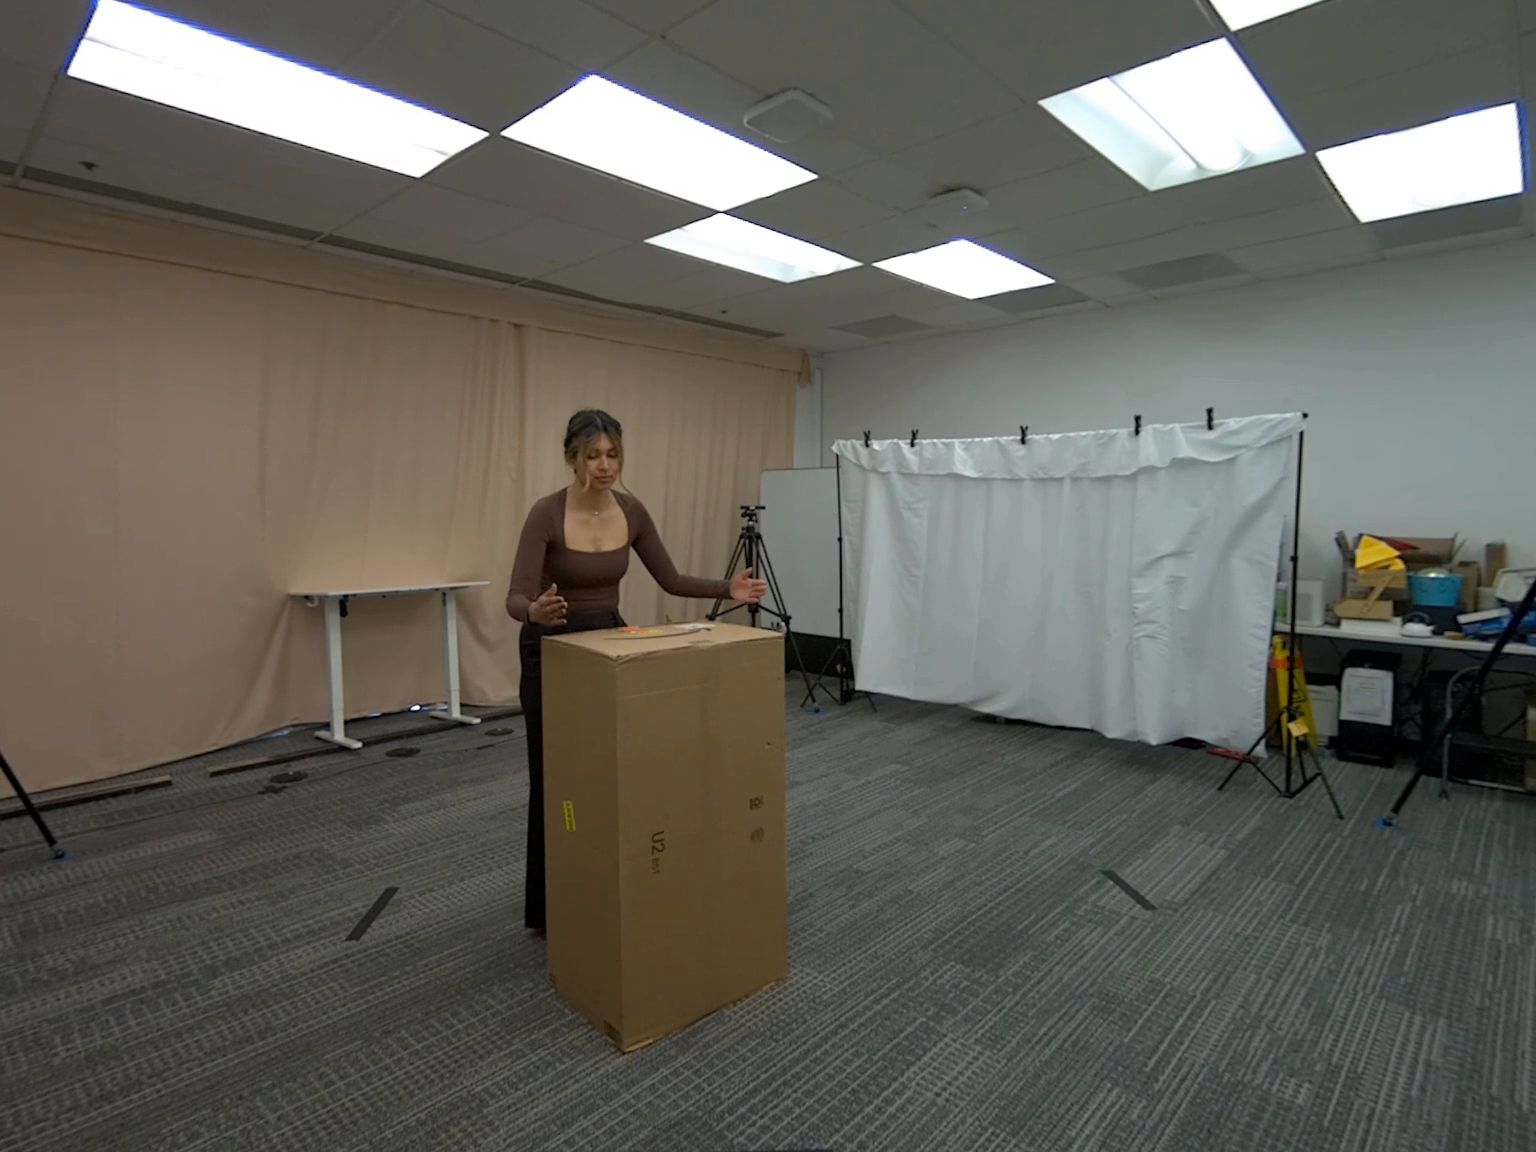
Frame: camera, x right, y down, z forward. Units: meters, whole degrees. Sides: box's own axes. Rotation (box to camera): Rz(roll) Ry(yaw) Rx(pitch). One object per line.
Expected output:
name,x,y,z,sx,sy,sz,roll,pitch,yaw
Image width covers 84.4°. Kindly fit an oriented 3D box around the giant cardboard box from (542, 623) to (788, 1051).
giant cardboard box,-0.292,0.679,2.452,0.566,1.025,0.461,-3,3,-39
